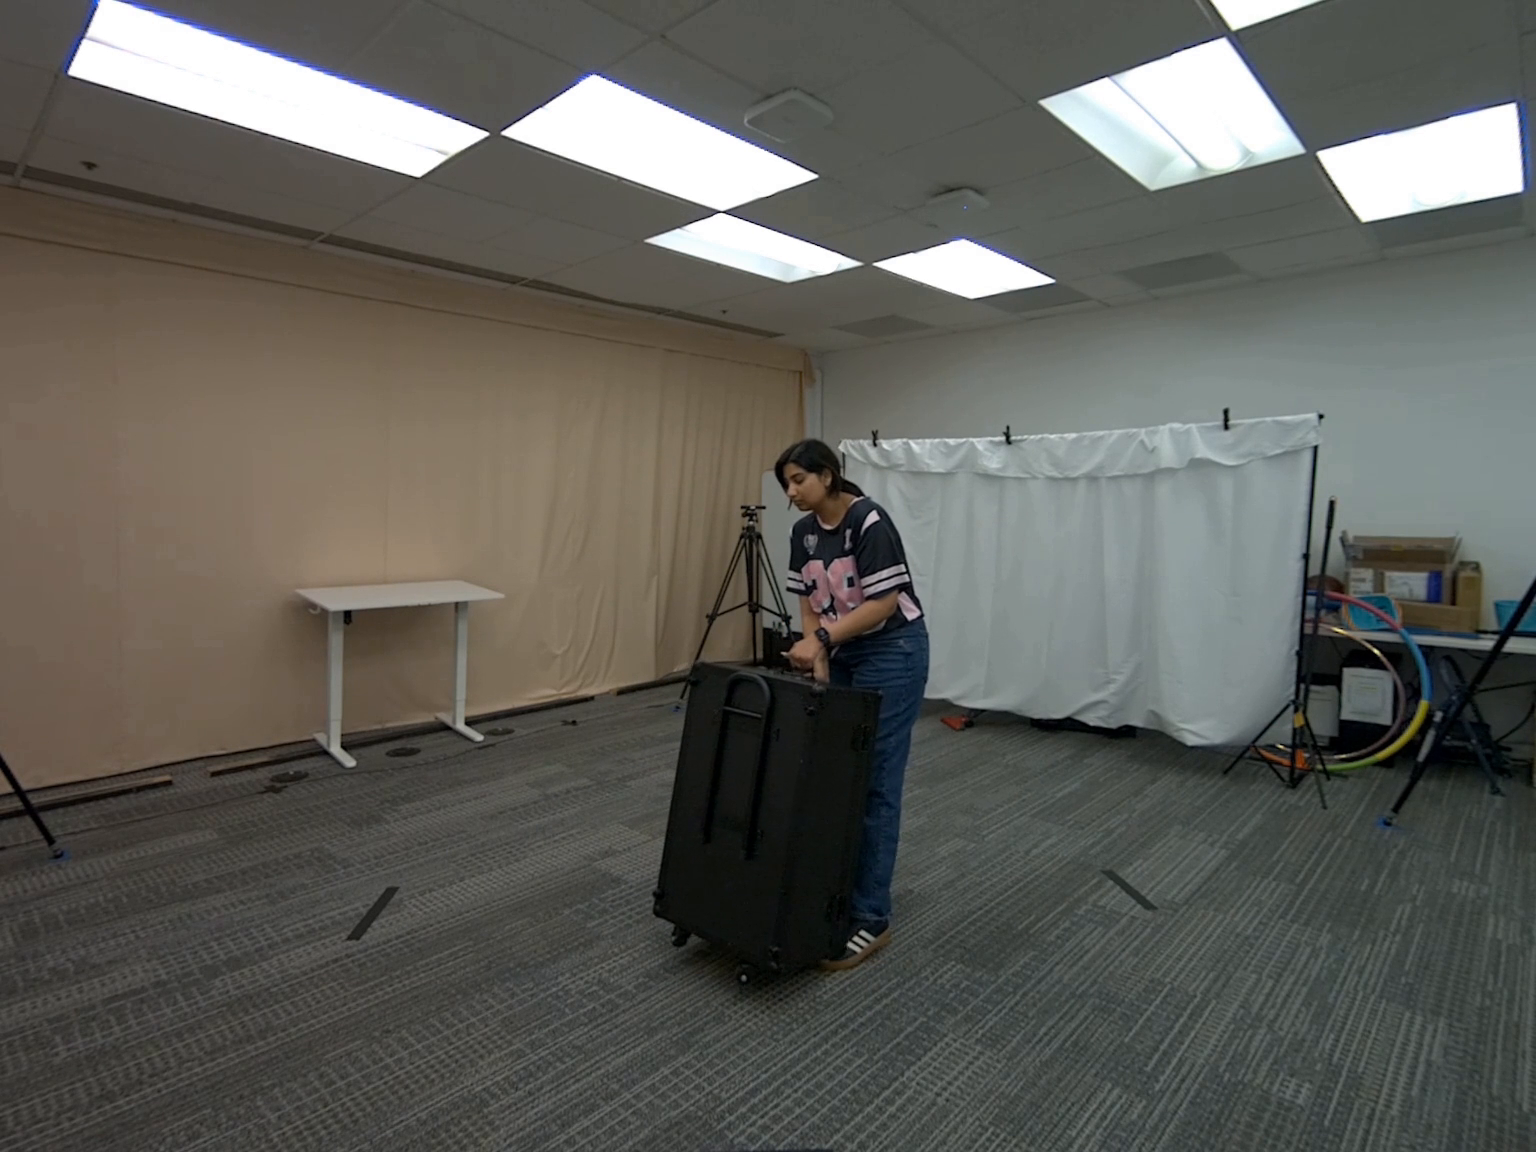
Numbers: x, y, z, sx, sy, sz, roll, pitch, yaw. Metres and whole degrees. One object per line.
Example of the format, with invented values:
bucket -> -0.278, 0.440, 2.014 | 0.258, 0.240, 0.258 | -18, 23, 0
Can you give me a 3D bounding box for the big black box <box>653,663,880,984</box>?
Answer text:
big black box -> -0.001, 0.737, 2.570 | 0.541, 0.871, 0.372 | 5, -7, 39
